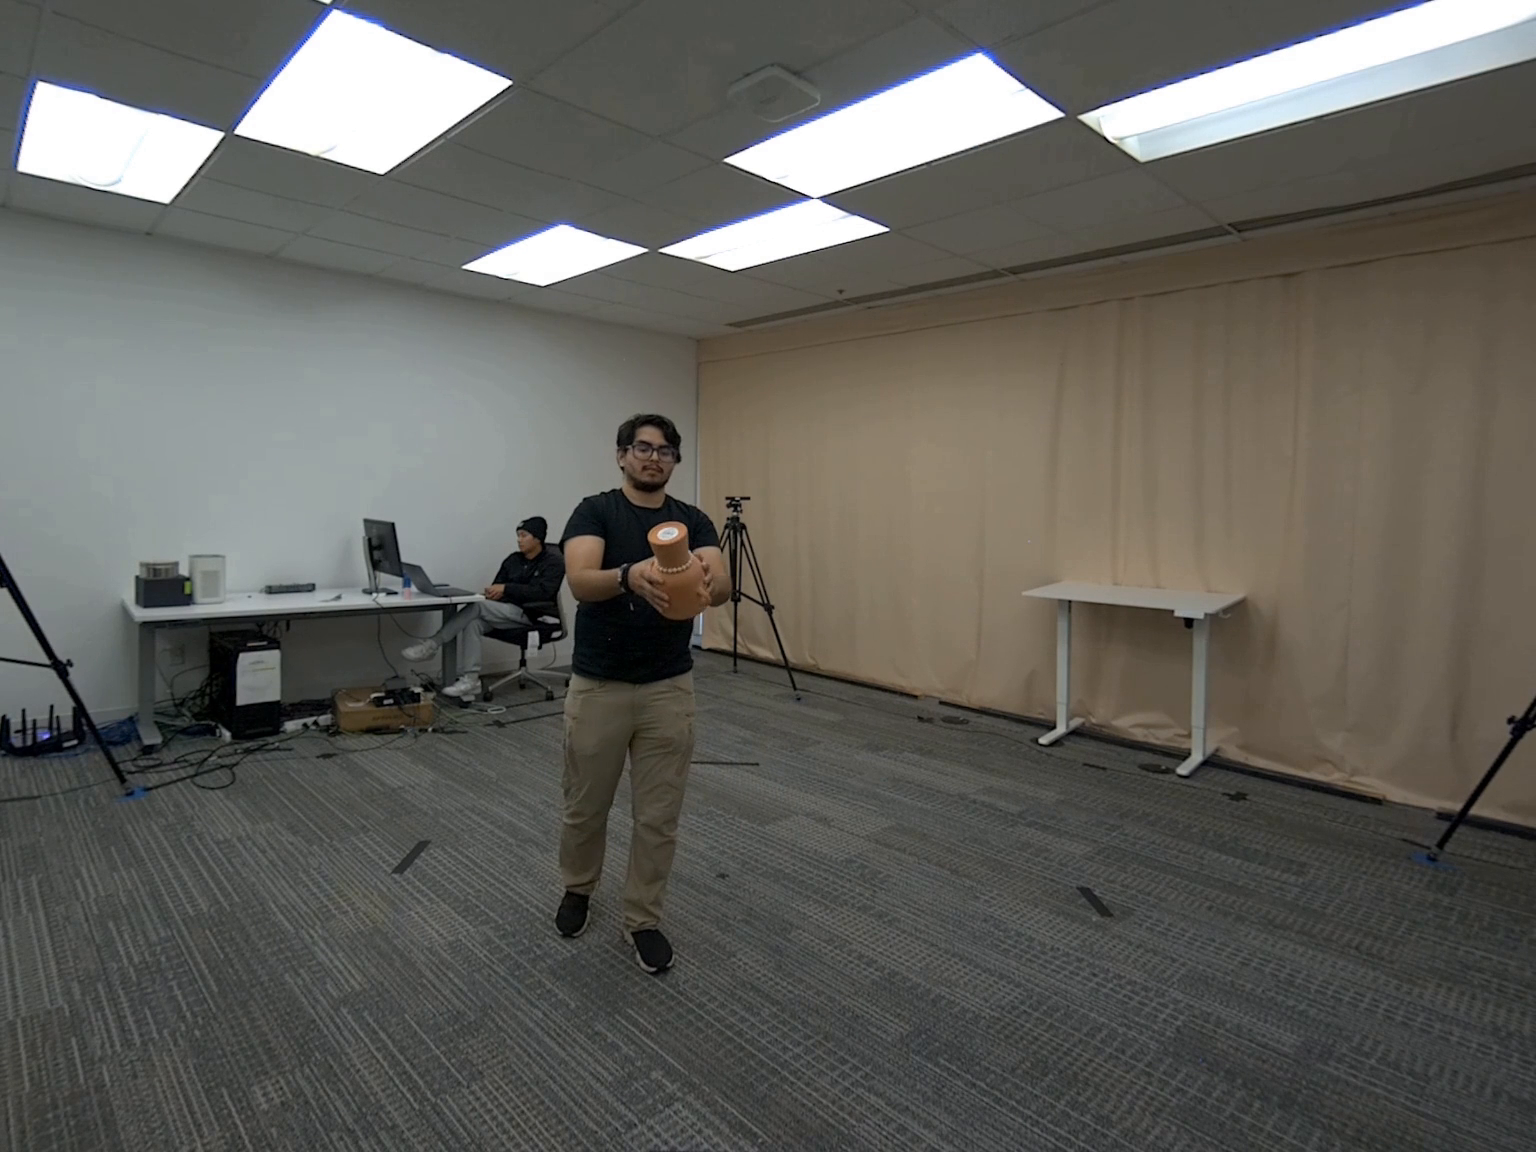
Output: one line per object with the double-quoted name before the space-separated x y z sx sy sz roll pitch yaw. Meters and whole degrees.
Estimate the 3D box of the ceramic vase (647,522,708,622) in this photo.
"ceramic vase" -0.243 -0.014 2.078 0.159 0.214 0.138 -8 36 0
